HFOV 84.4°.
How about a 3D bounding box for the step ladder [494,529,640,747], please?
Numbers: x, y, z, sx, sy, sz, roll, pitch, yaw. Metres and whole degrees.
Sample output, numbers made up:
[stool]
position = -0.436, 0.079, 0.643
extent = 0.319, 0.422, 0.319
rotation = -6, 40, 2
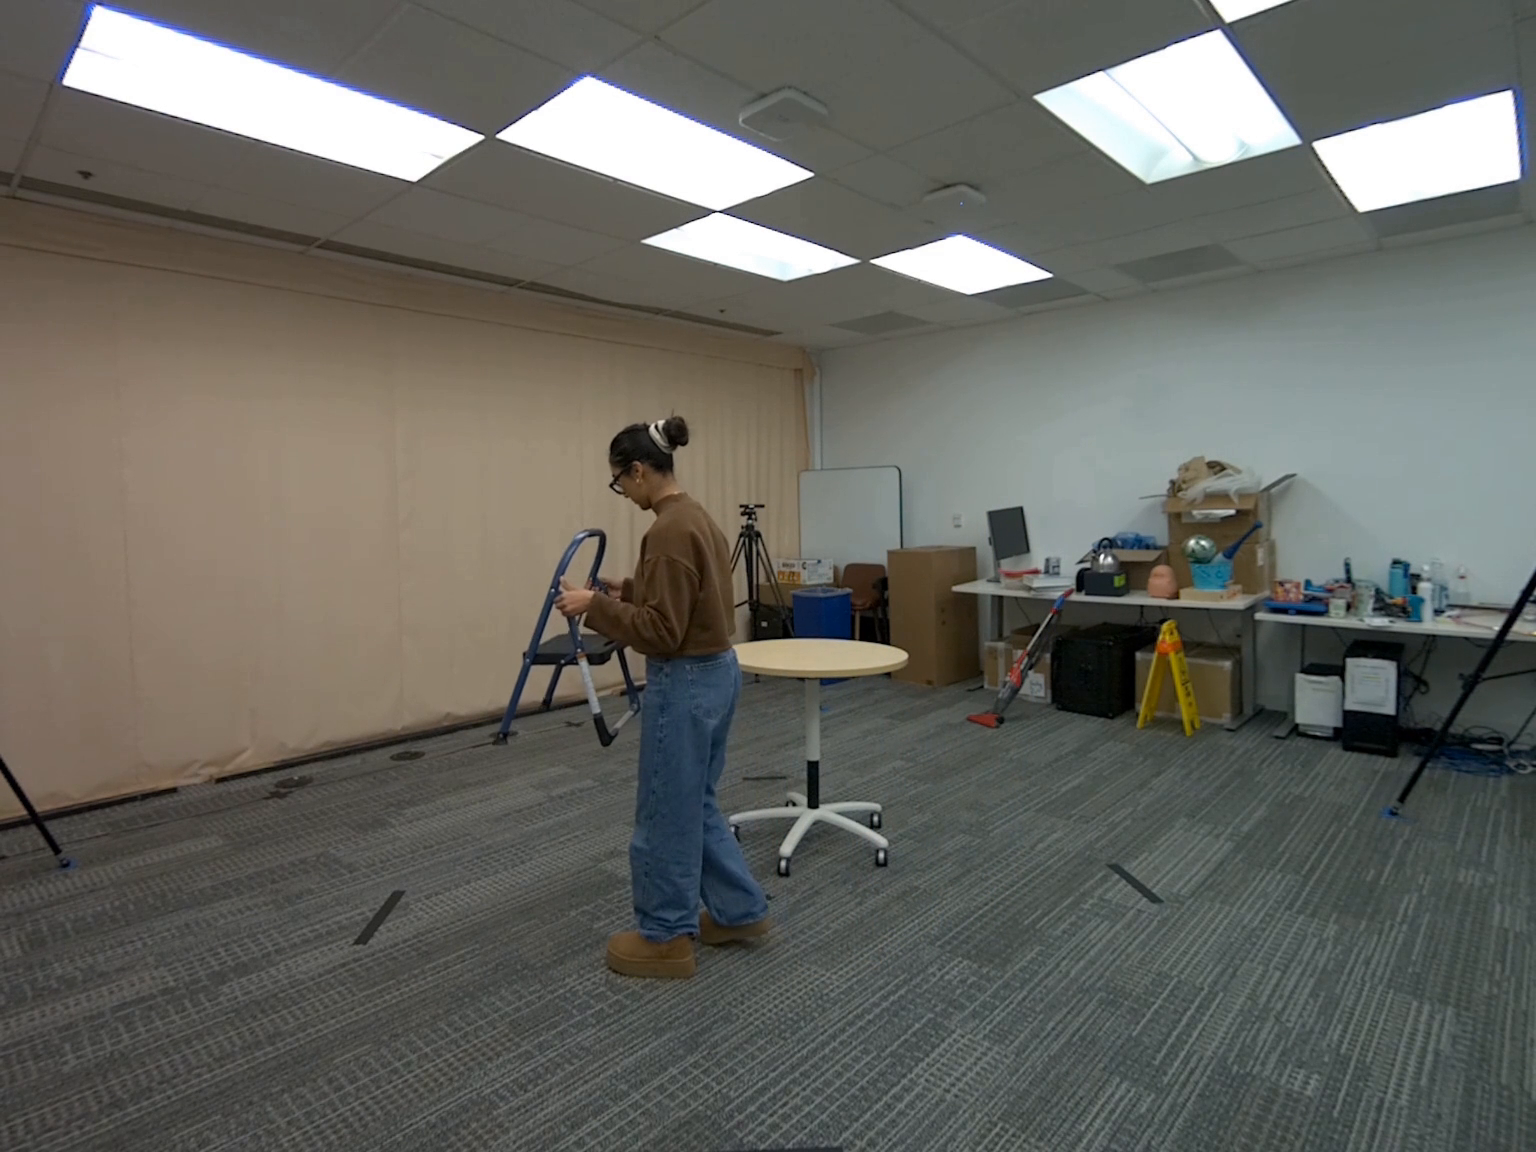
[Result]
[step ladder]
position = -0.601, 0.164, 2.564
extent = 0.351, 0.605, 0.429
rotation = 0, 3, 4
